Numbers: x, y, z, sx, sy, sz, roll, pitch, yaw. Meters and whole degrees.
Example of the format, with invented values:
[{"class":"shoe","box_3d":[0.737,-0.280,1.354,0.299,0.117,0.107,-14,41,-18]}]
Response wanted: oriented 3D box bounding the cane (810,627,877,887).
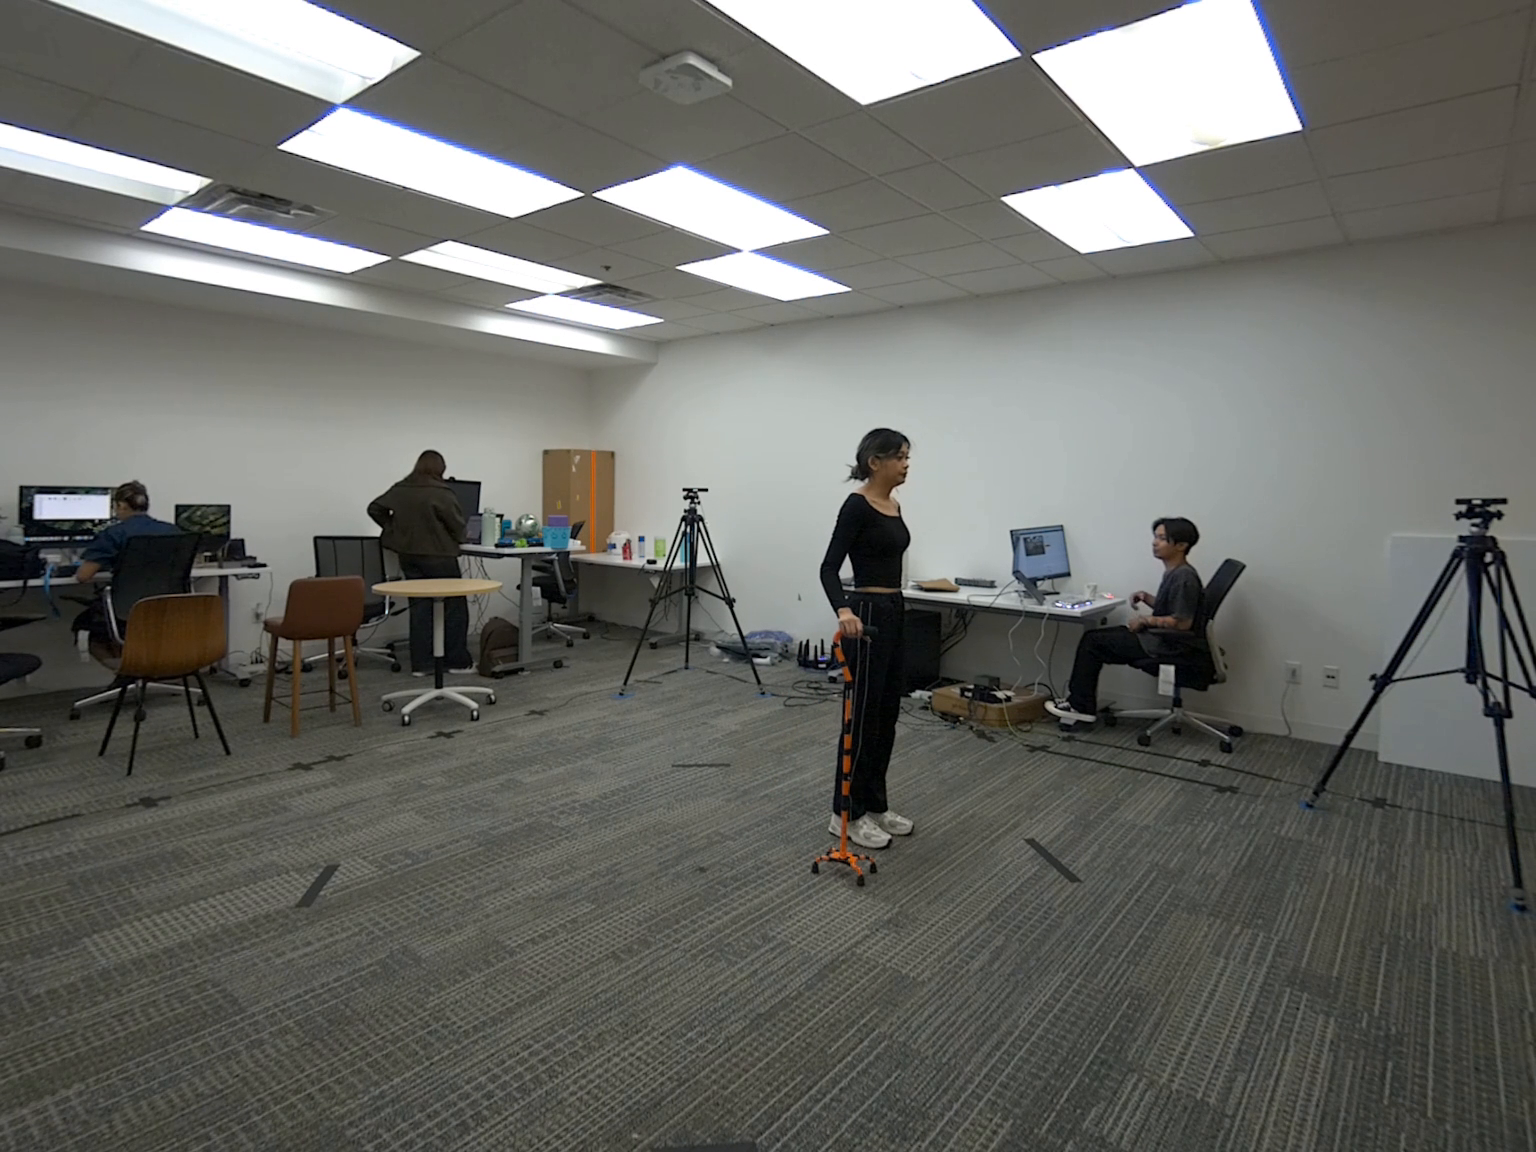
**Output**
[{"class":"cane","box_3d":[0.282,0.625,3.094,0.212,0.905,0.148,2,3,29]}]
